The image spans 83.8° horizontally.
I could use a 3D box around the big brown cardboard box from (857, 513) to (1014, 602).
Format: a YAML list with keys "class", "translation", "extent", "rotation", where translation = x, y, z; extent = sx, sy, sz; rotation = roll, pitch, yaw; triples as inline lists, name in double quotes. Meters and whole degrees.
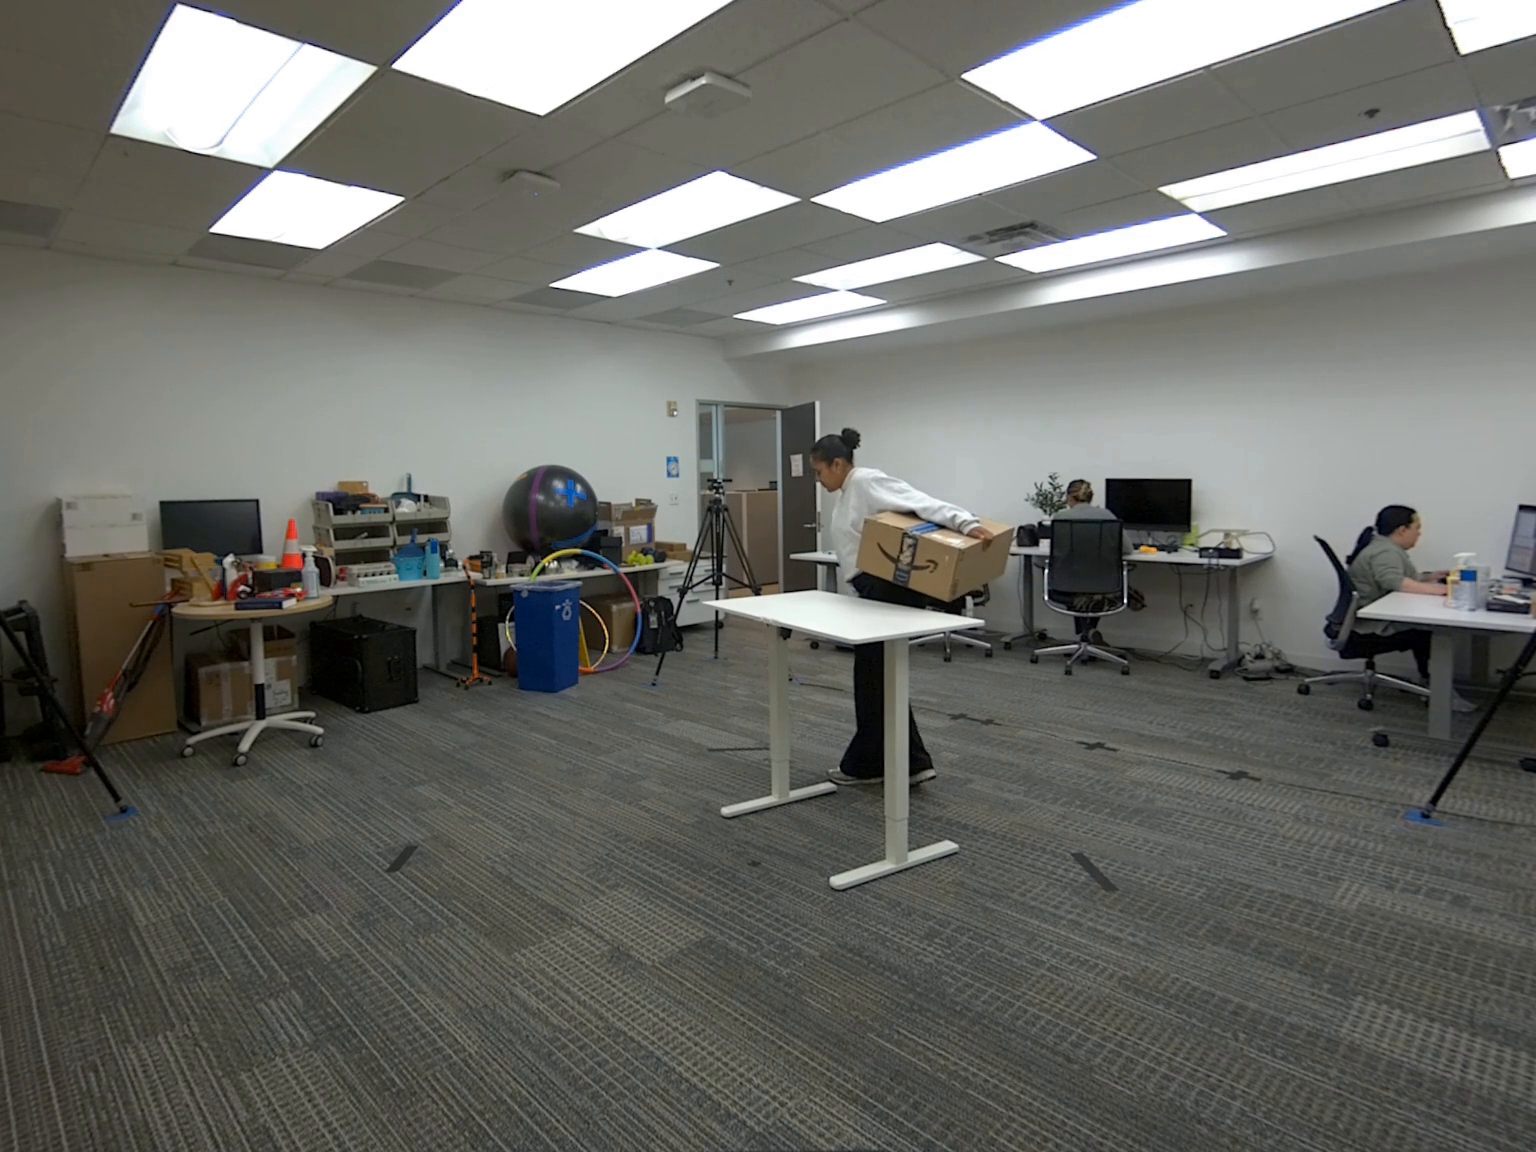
- class: "big brown cardboard box"
  translation: [0.695, -0.117, 3.514]
  extent: [0.432, 0.230, 0.576]
  rotation: [21, 22, 33]
